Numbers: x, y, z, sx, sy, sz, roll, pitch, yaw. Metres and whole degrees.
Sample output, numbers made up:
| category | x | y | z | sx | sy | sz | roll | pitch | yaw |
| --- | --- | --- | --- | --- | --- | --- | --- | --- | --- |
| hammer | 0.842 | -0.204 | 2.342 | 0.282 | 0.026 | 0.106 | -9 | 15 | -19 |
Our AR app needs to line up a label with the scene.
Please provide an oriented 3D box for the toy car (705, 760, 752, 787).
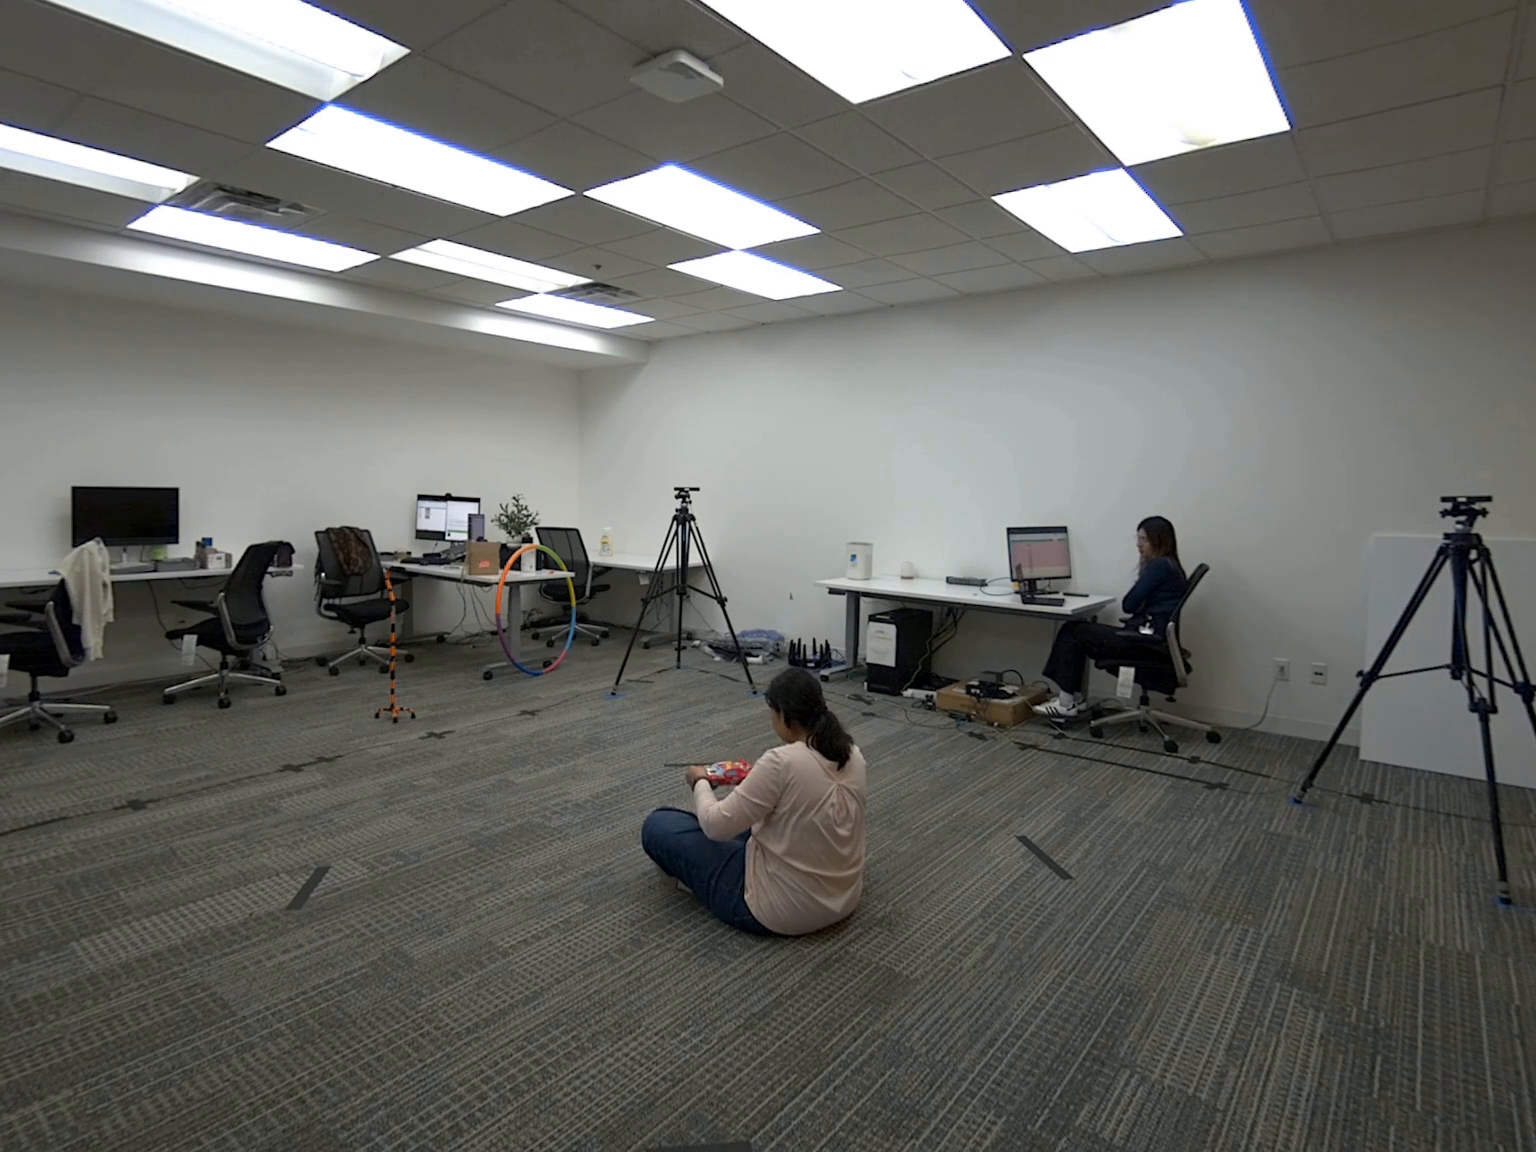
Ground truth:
| category | x | y | z | sx | sy | sz | roll | pitch | yaw |
| --- | --- | --- | --- | --- | --- | --- | --- | --- | --- |
| toy car | -0.151 | 0.732 | 3.136 | 0.248 | 0.082 | 0.135 | -6 | 17 | -35 |
